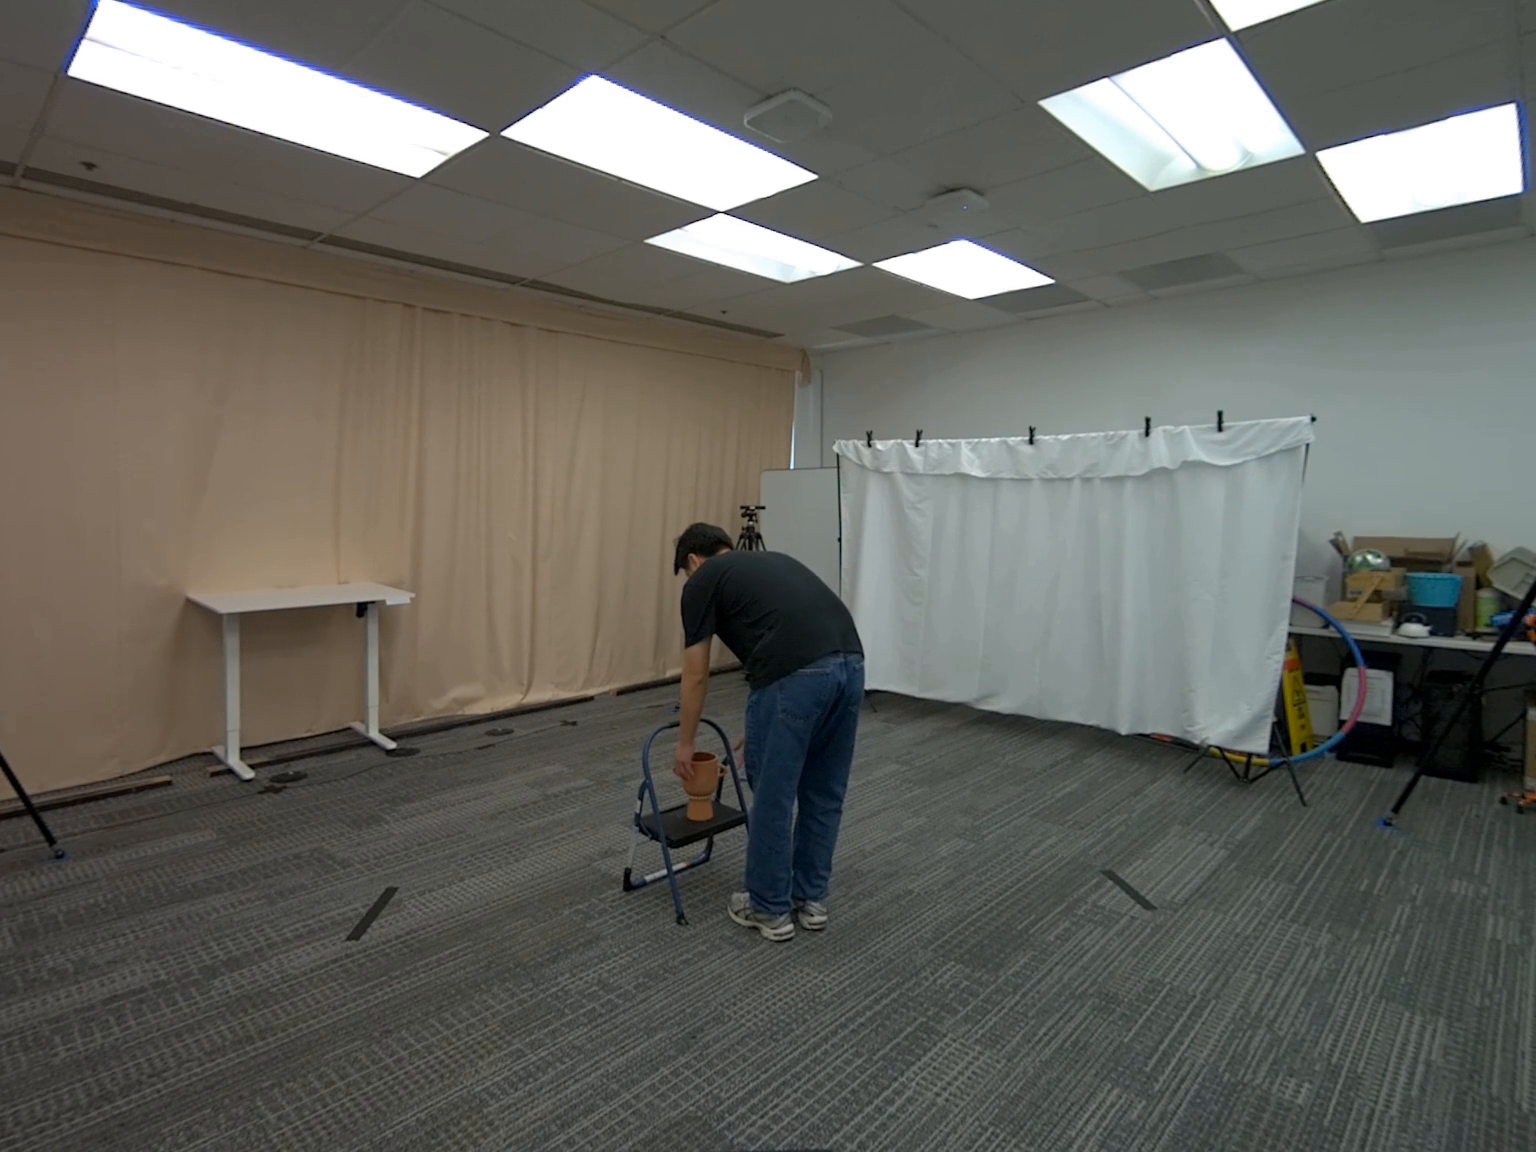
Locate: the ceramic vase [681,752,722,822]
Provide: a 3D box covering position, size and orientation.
[{"bbox_3d":[-0.249,0.767,3.065,0.164,0.219,0.130,5,6,43],"label":"ceramic vase"}]
